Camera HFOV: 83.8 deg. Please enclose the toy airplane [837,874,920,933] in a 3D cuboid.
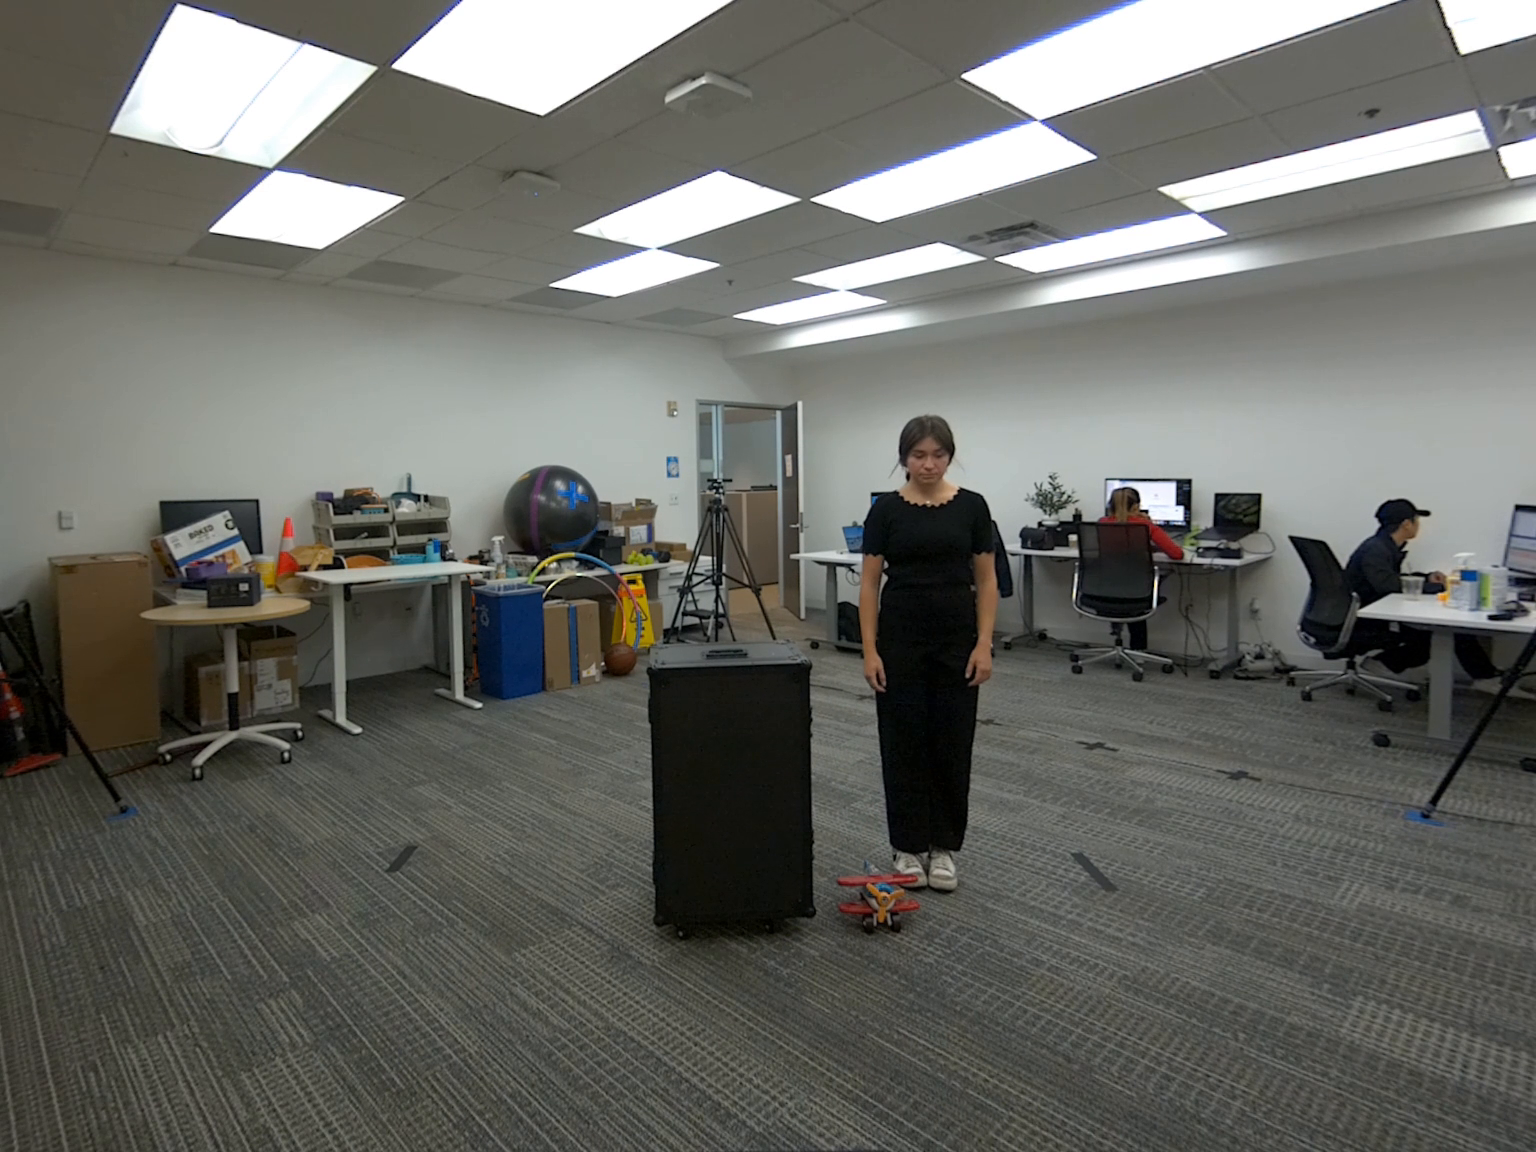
[{"bbox_3d":[0.322,1.007,2.702,0.245,0.155,0.267,-4,8,-32],"label":"toy airplane"}]
